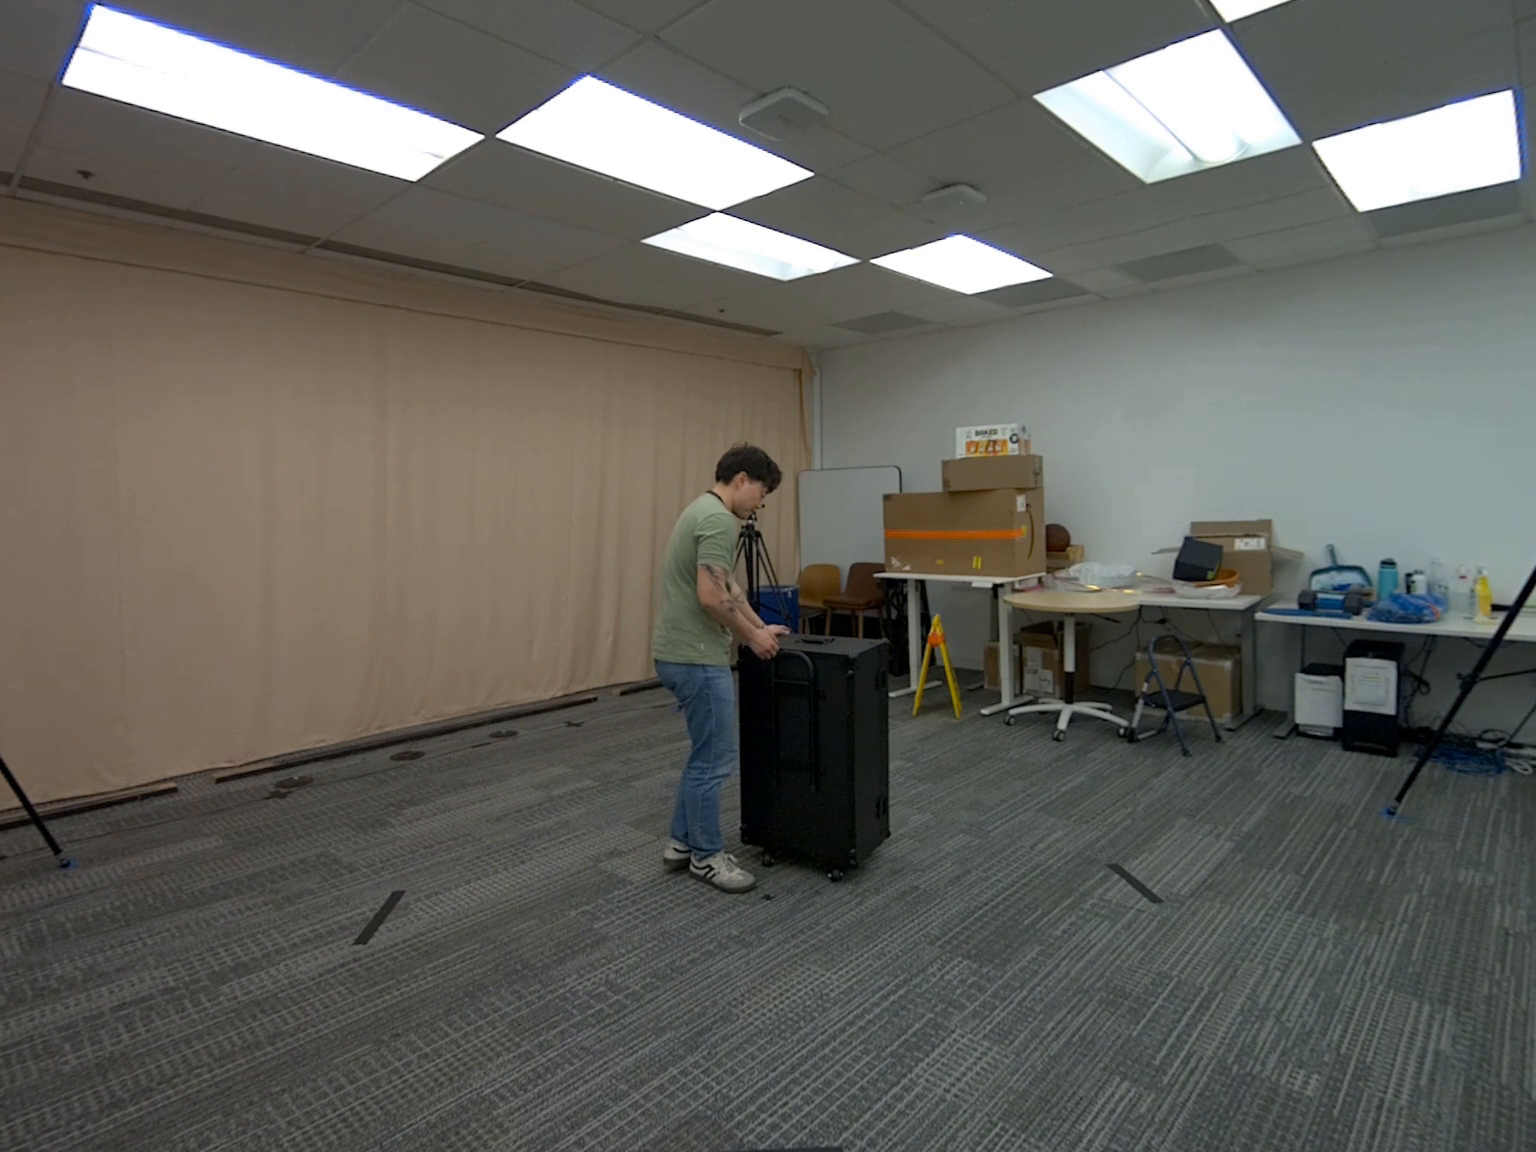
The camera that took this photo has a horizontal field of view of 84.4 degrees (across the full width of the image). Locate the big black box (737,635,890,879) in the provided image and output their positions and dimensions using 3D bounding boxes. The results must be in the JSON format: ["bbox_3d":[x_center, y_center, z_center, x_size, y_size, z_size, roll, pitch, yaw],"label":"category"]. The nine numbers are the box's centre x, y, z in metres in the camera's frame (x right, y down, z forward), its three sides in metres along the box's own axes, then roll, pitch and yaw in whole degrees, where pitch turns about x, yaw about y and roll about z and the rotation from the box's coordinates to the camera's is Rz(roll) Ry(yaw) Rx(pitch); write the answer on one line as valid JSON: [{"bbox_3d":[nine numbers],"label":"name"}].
[{"bbox_3d":[0.189,0.679,3.281,0.536,0.859,0.386,1,4,30],"label":"big black box"}]
